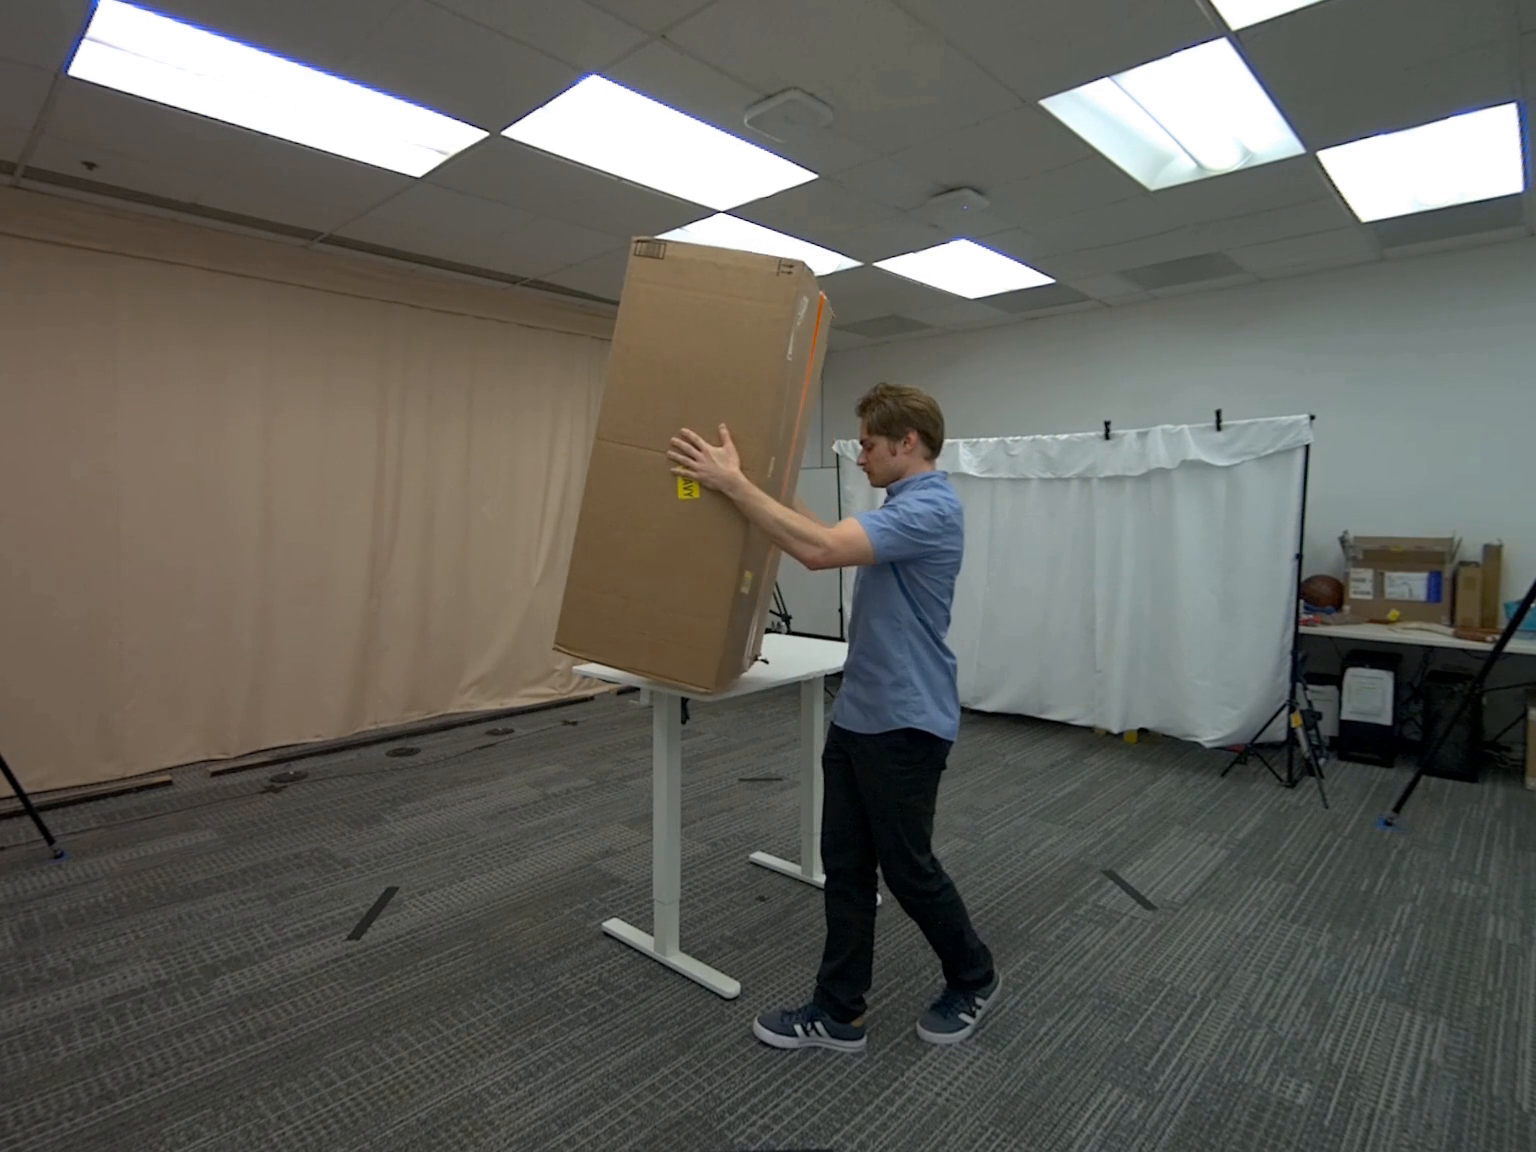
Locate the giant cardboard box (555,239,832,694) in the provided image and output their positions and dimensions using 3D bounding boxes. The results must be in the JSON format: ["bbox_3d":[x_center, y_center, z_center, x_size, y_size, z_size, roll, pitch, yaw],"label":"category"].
[{"bbox_3d":[-0.164,-0.282,2.250,0.433,1.024,0.569,13,5,12],"label":"giant cardboard box"}]
